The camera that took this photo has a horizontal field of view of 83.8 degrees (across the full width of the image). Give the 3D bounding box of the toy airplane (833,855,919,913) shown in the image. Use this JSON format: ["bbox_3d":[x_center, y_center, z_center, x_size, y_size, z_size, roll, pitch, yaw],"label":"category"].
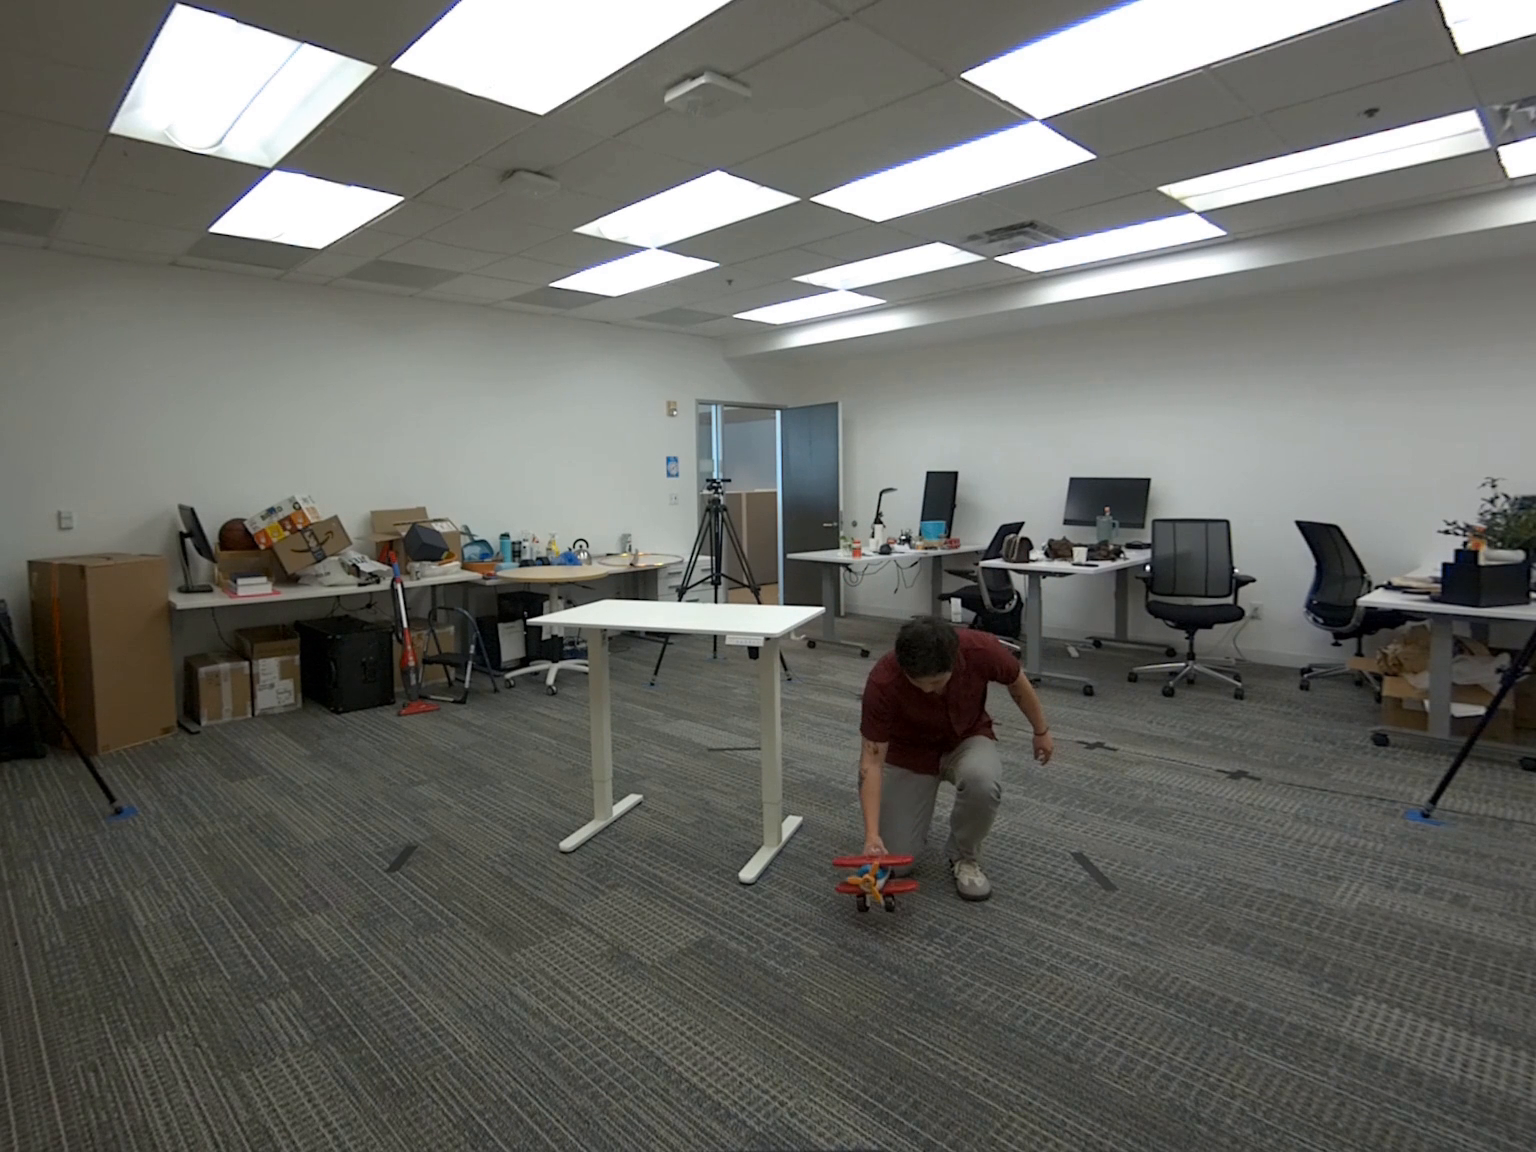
[{"bbox_3d":[0.331,0.937,2.700,0.249,0.155,0.263,-13,10,-10],"label":"toy airplane"}]
